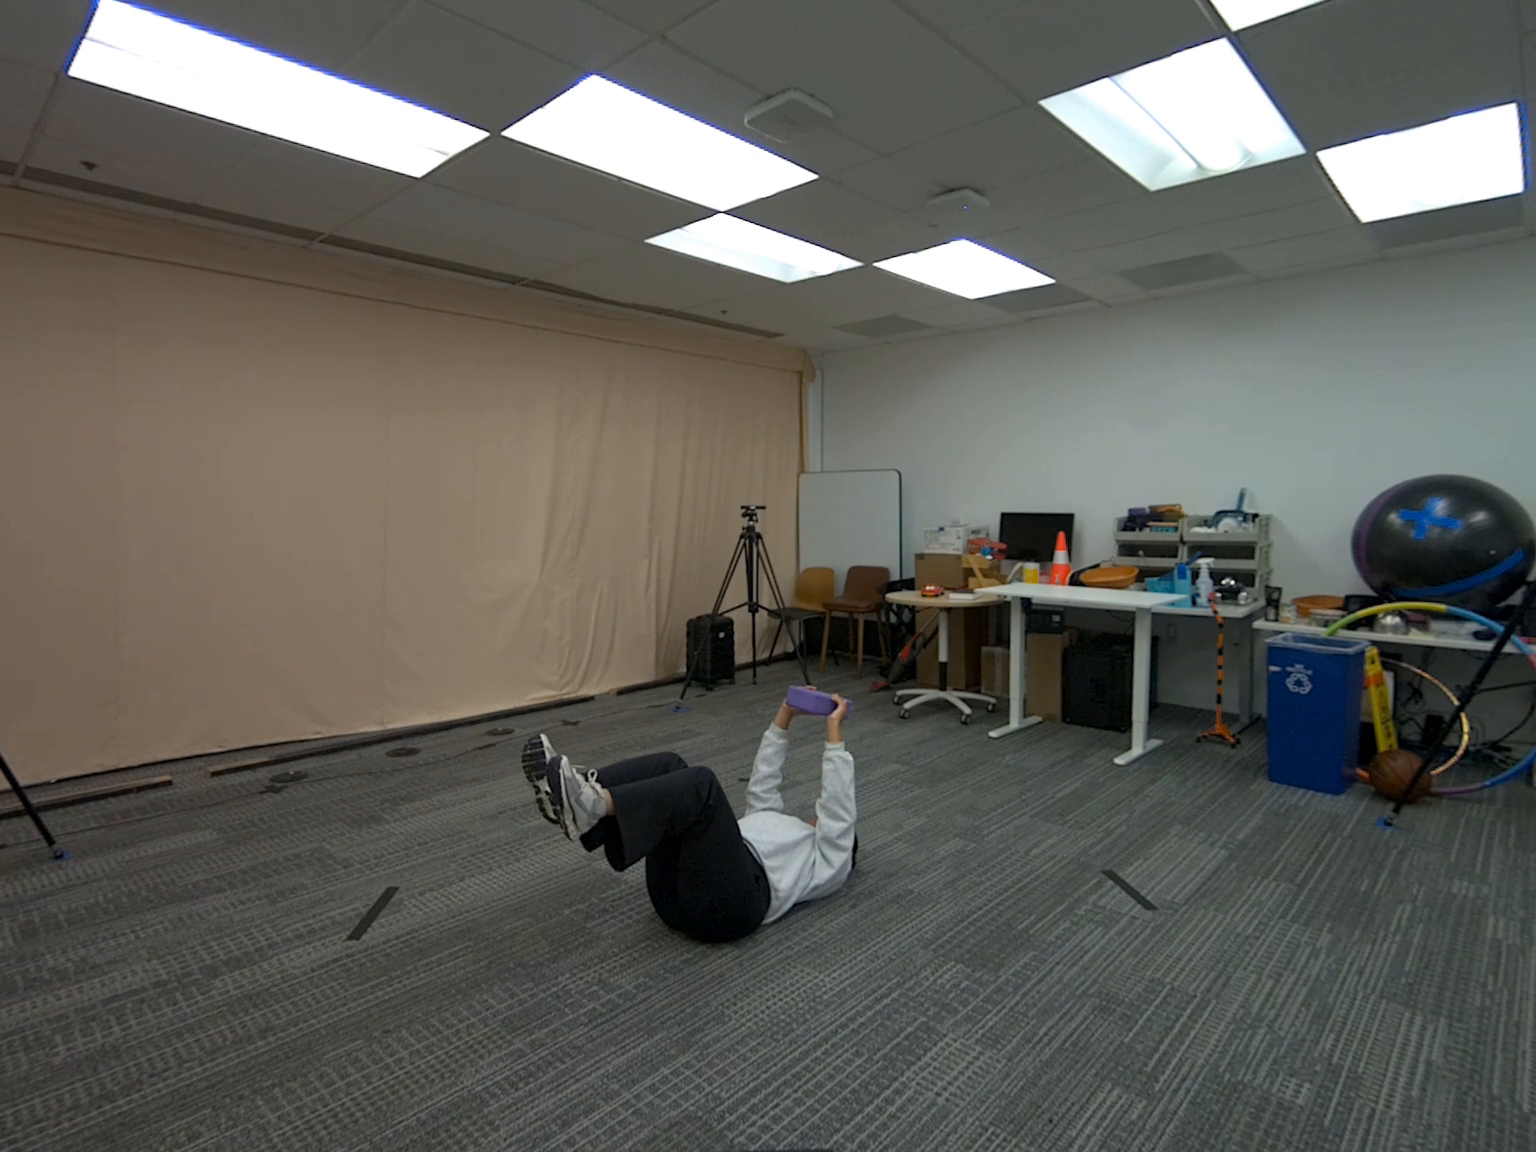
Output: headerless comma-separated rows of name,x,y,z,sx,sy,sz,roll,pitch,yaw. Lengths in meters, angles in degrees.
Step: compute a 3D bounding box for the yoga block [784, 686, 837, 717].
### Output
yoga block,0.202,0.484,3.208,0.154,0.076,0.221,11,-5,42
